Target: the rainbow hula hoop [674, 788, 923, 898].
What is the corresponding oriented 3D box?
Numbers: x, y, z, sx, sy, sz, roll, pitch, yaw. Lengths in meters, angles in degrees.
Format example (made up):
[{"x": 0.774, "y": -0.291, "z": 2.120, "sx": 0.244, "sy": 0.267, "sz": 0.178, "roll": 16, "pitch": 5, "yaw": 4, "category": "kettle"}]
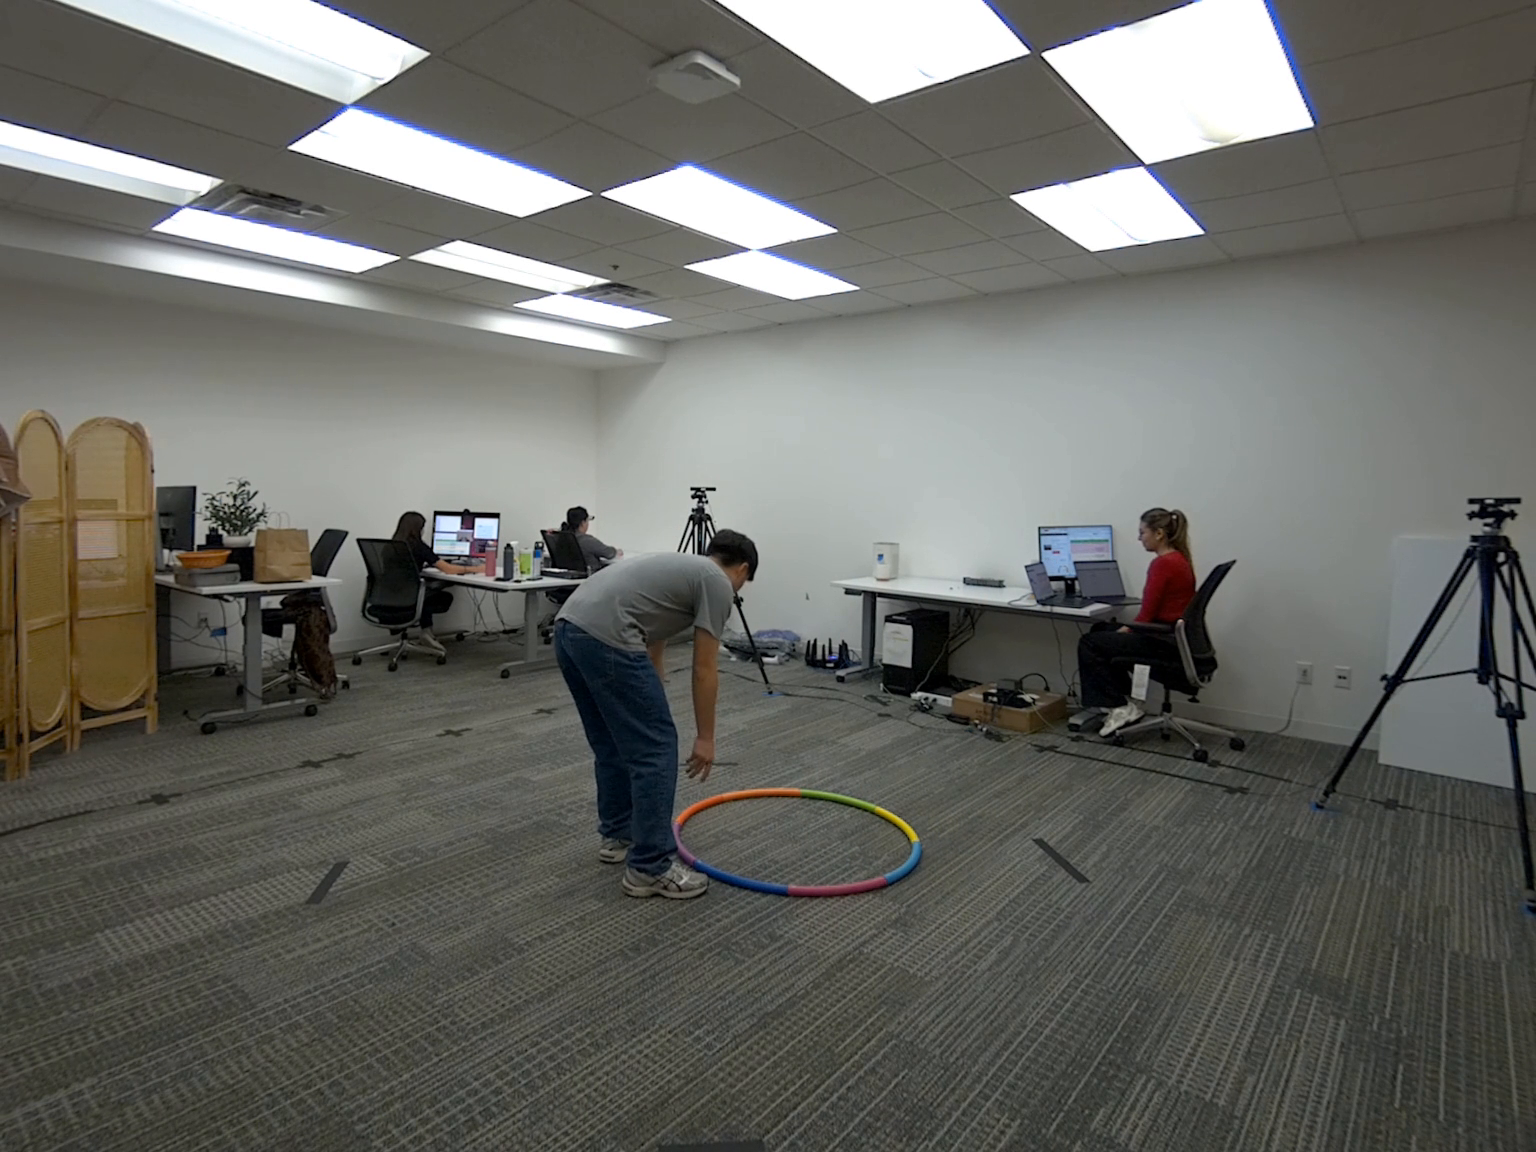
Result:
[{"x": 0.096, "y": 1.019, "z": 3.379, "sx": 0.978, "sy": 0.035, "sz": 0.984, "roll": 1, "pitch": 6, "yaw": -2, "category": "rainbow hula hoop"}]
